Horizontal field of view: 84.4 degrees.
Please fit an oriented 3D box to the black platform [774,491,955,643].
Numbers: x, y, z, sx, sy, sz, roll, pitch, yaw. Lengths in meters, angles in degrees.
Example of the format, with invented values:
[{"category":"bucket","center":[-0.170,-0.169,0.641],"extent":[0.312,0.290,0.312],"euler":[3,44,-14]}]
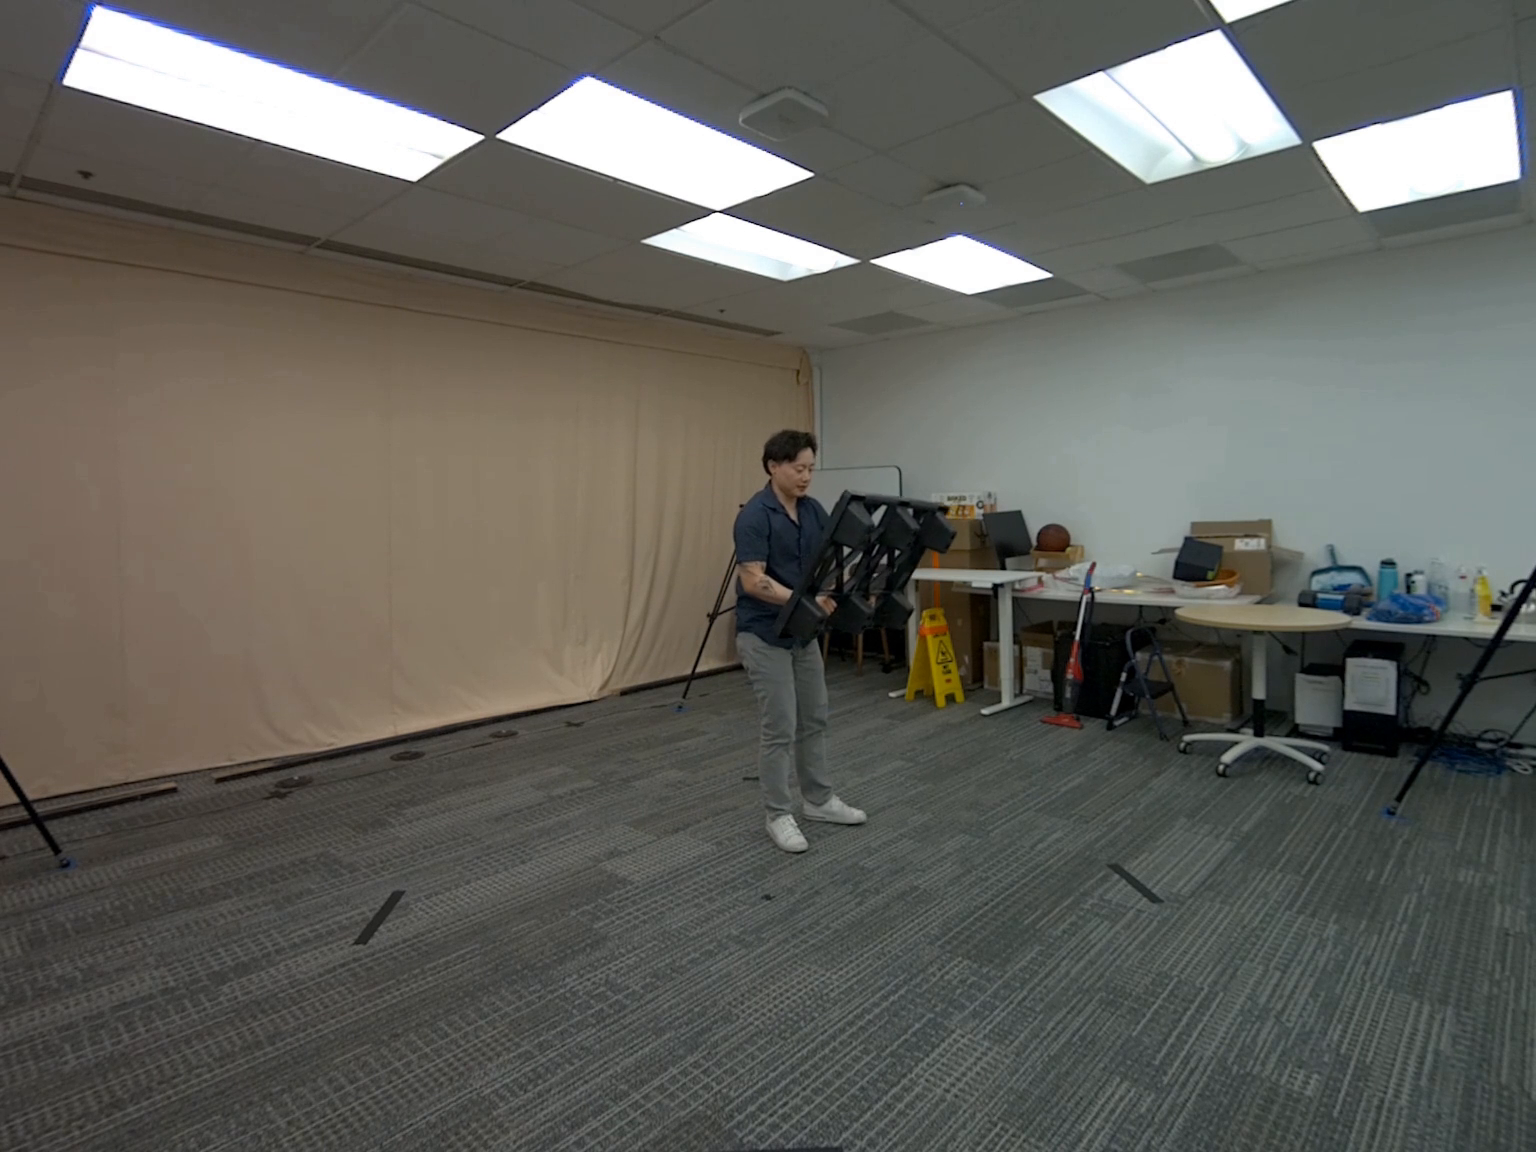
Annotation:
[{"category":"black platform","center":[0.412,-0.010,3.228],"extent":[0.148,0.604,0.780],"euler":[38,22,31]}]
